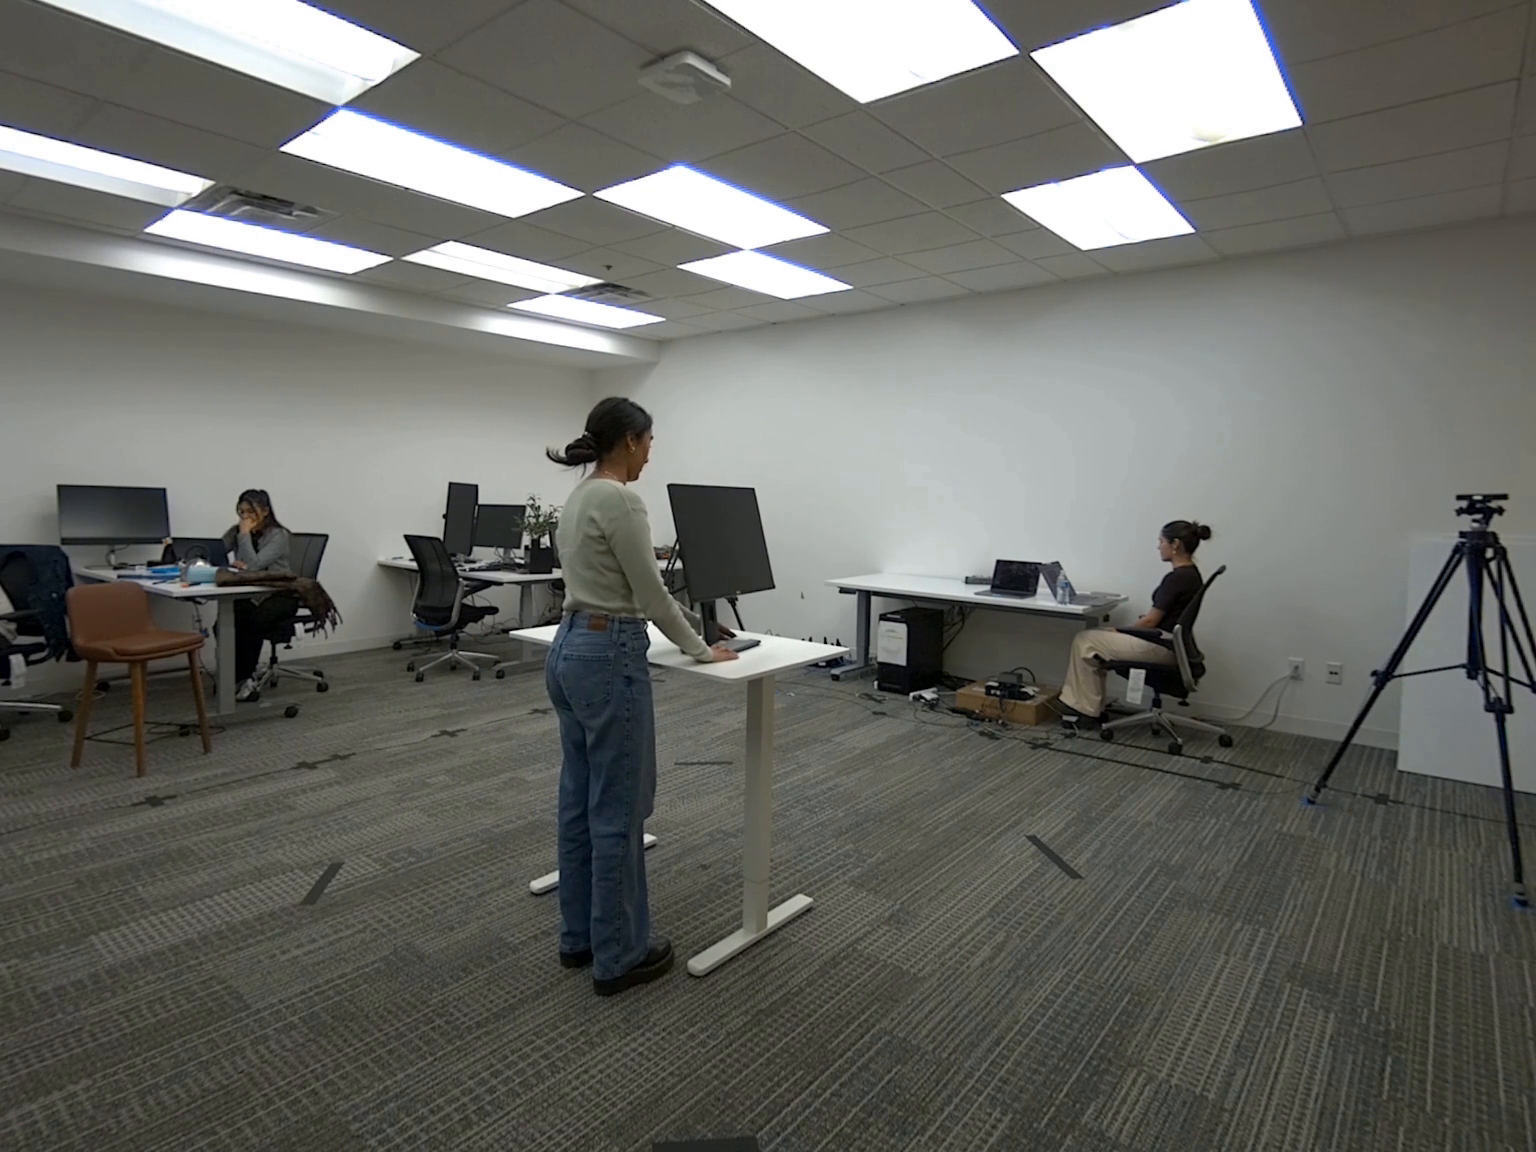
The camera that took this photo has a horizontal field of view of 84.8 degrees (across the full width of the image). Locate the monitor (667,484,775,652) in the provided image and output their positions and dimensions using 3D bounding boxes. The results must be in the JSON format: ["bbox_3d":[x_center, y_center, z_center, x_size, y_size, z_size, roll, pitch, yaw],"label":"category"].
[{"bbox_3d":[-0.170,-0.029,2.684,0.179,0.514,0.517,6,5,26],"label":"monitor"}]
